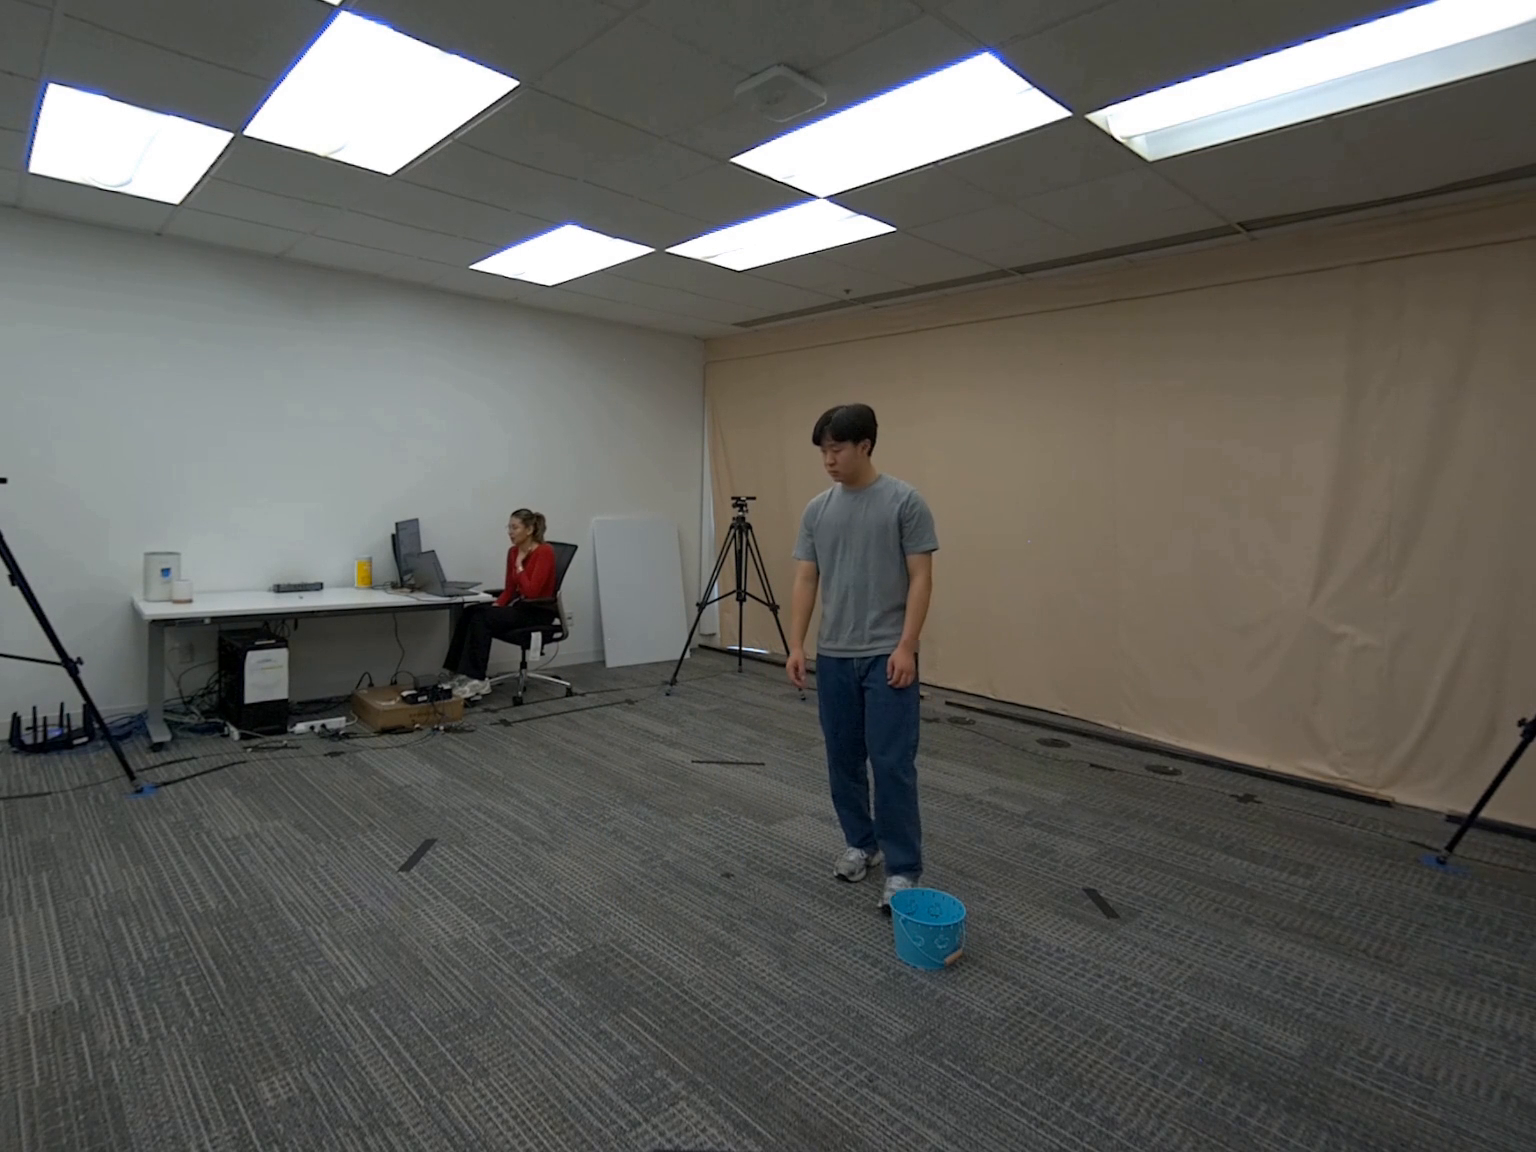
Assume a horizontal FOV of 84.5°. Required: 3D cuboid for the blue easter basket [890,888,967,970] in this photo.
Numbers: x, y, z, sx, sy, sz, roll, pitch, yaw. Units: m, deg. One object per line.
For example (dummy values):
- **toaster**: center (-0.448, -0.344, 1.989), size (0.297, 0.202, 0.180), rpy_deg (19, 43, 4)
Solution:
- **blue easter basket**: center (0.478, 1.091, 2.594), size (0.243, 0.155, 0.244), rpy_deg (0, 4, -1)
